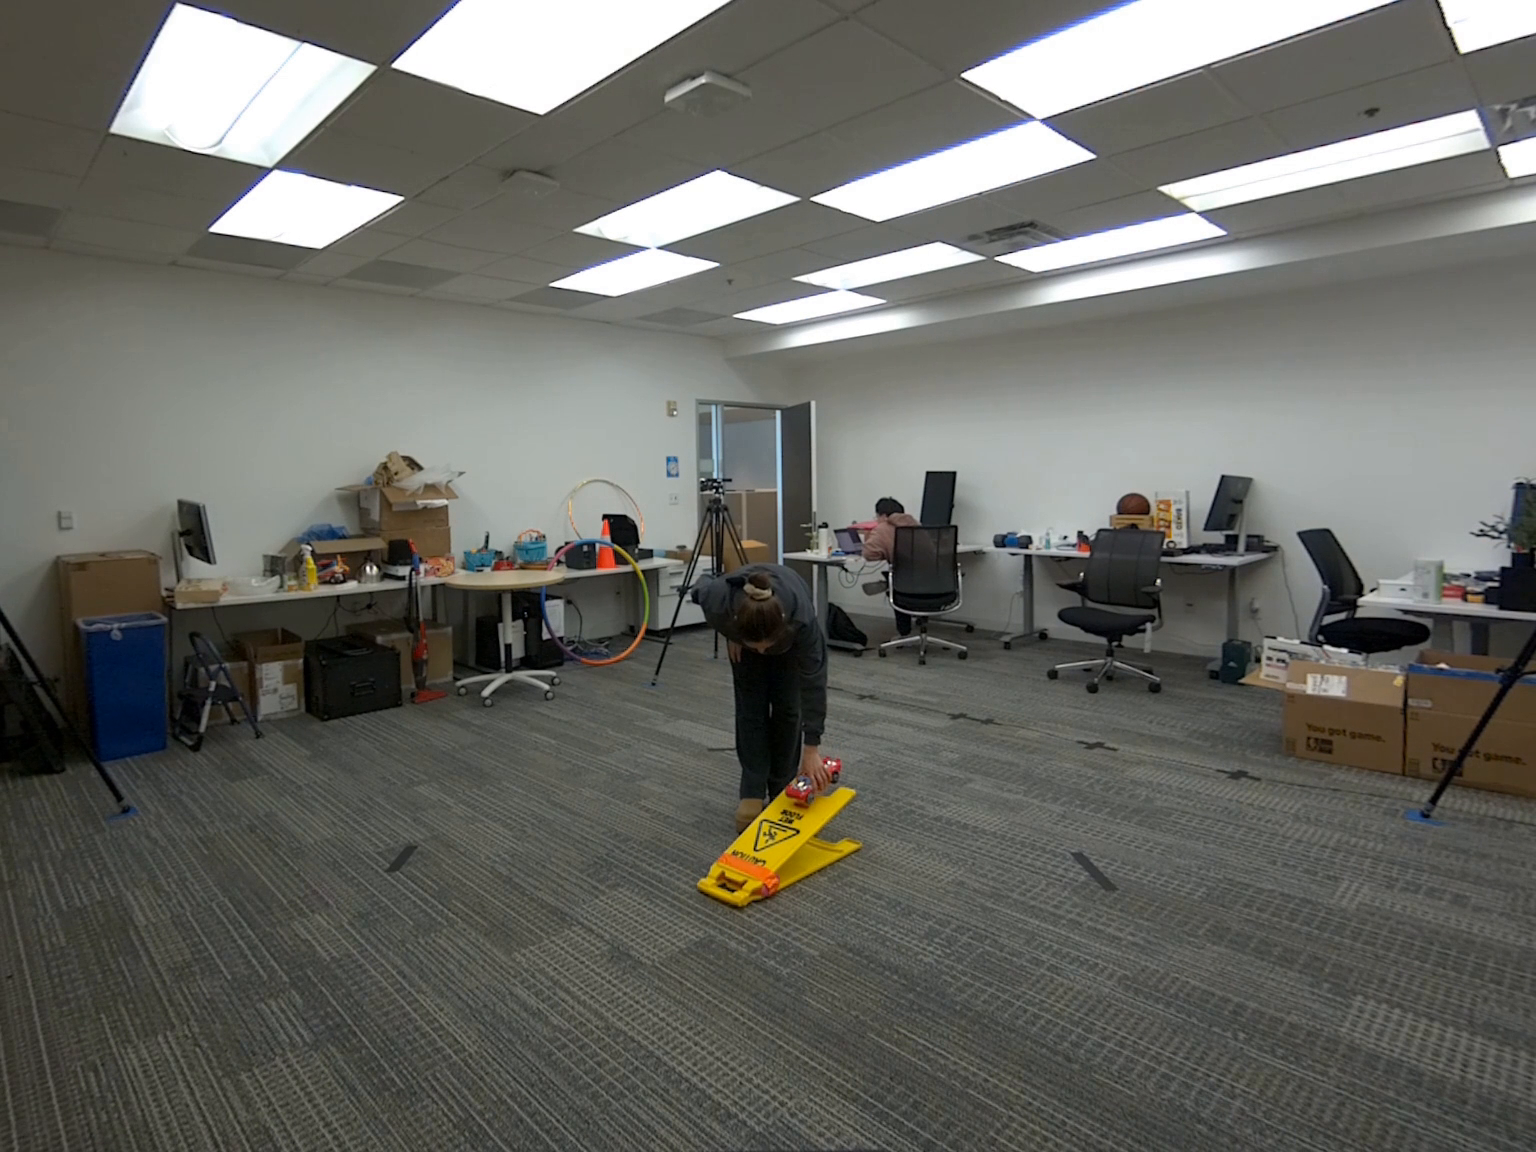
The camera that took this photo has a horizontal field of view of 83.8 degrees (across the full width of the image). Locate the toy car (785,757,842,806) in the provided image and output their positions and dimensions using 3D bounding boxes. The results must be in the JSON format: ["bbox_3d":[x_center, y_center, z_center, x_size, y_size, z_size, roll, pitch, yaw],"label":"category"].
[{"bbox_3d":[0.181,0.774,3.200,0.134,0.081,0.253,-1,31,46],"label":"toy car"}]
